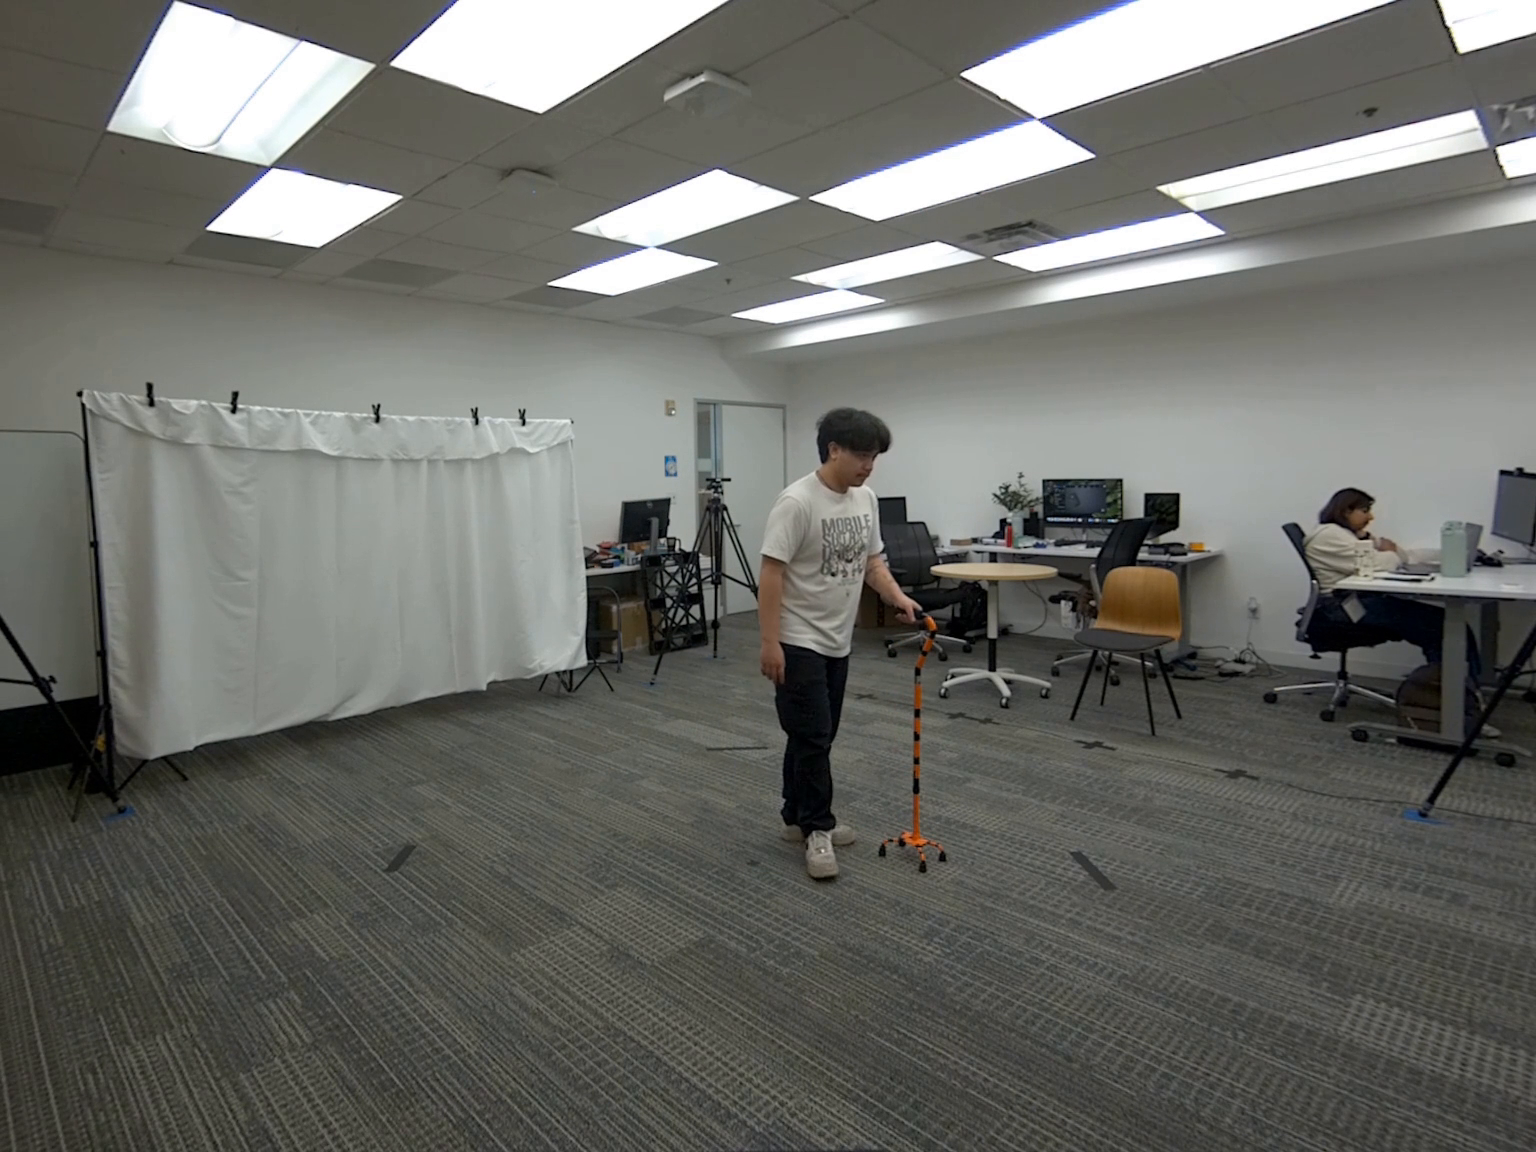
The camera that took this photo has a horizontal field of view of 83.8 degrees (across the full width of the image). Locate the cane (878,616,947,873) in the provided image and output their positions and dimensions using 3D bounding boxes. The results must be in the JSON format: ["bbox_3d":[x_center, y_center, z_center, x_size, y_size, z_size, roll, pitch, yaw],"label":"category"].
[{"bbox_3d":[0.528,0.576,3.079,0.147,0.903,0.213,-4,7,-42],"label":"cane"}]
